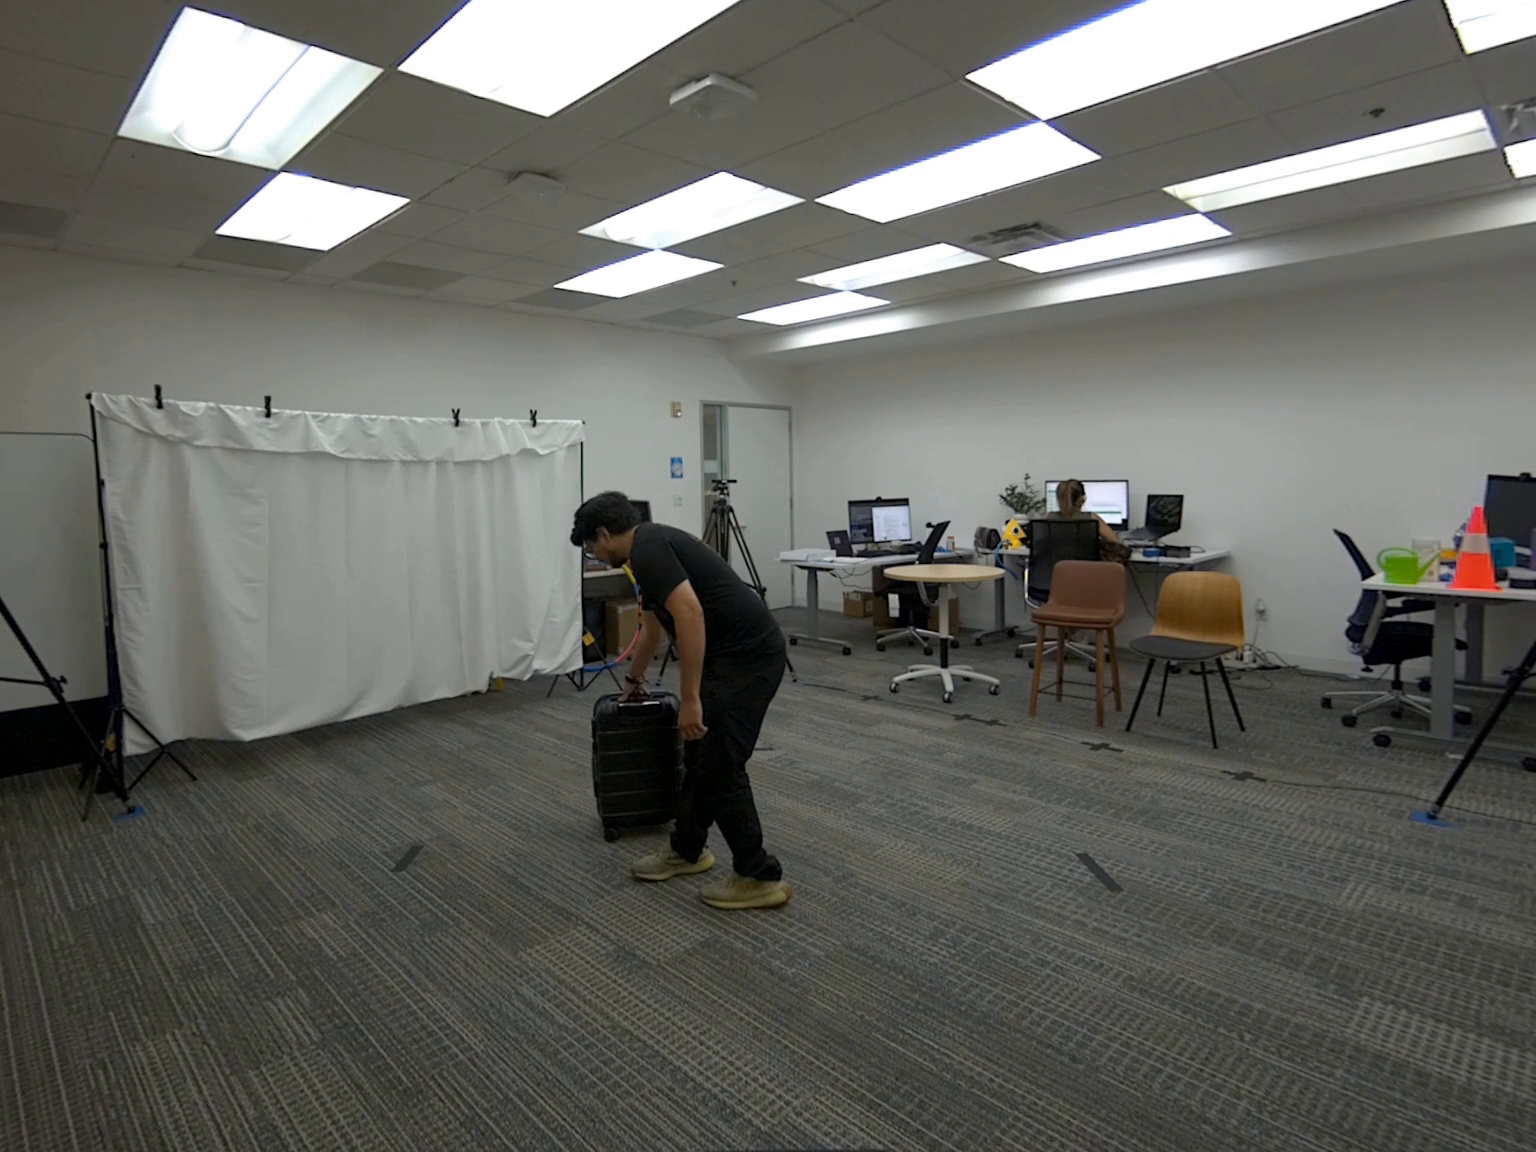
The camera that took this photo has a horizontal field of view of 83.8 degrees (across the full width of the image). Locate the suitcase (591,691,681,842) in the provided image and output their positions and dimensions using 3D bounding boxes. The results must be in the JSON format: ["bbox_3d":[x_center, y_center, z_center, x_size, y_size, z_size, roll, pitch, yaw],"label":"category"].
[{"bbox_3d":[-0.526,0.743,3.467,0.371,0.548,0.252,-3,3,-12],"label":"suitcase"}]
